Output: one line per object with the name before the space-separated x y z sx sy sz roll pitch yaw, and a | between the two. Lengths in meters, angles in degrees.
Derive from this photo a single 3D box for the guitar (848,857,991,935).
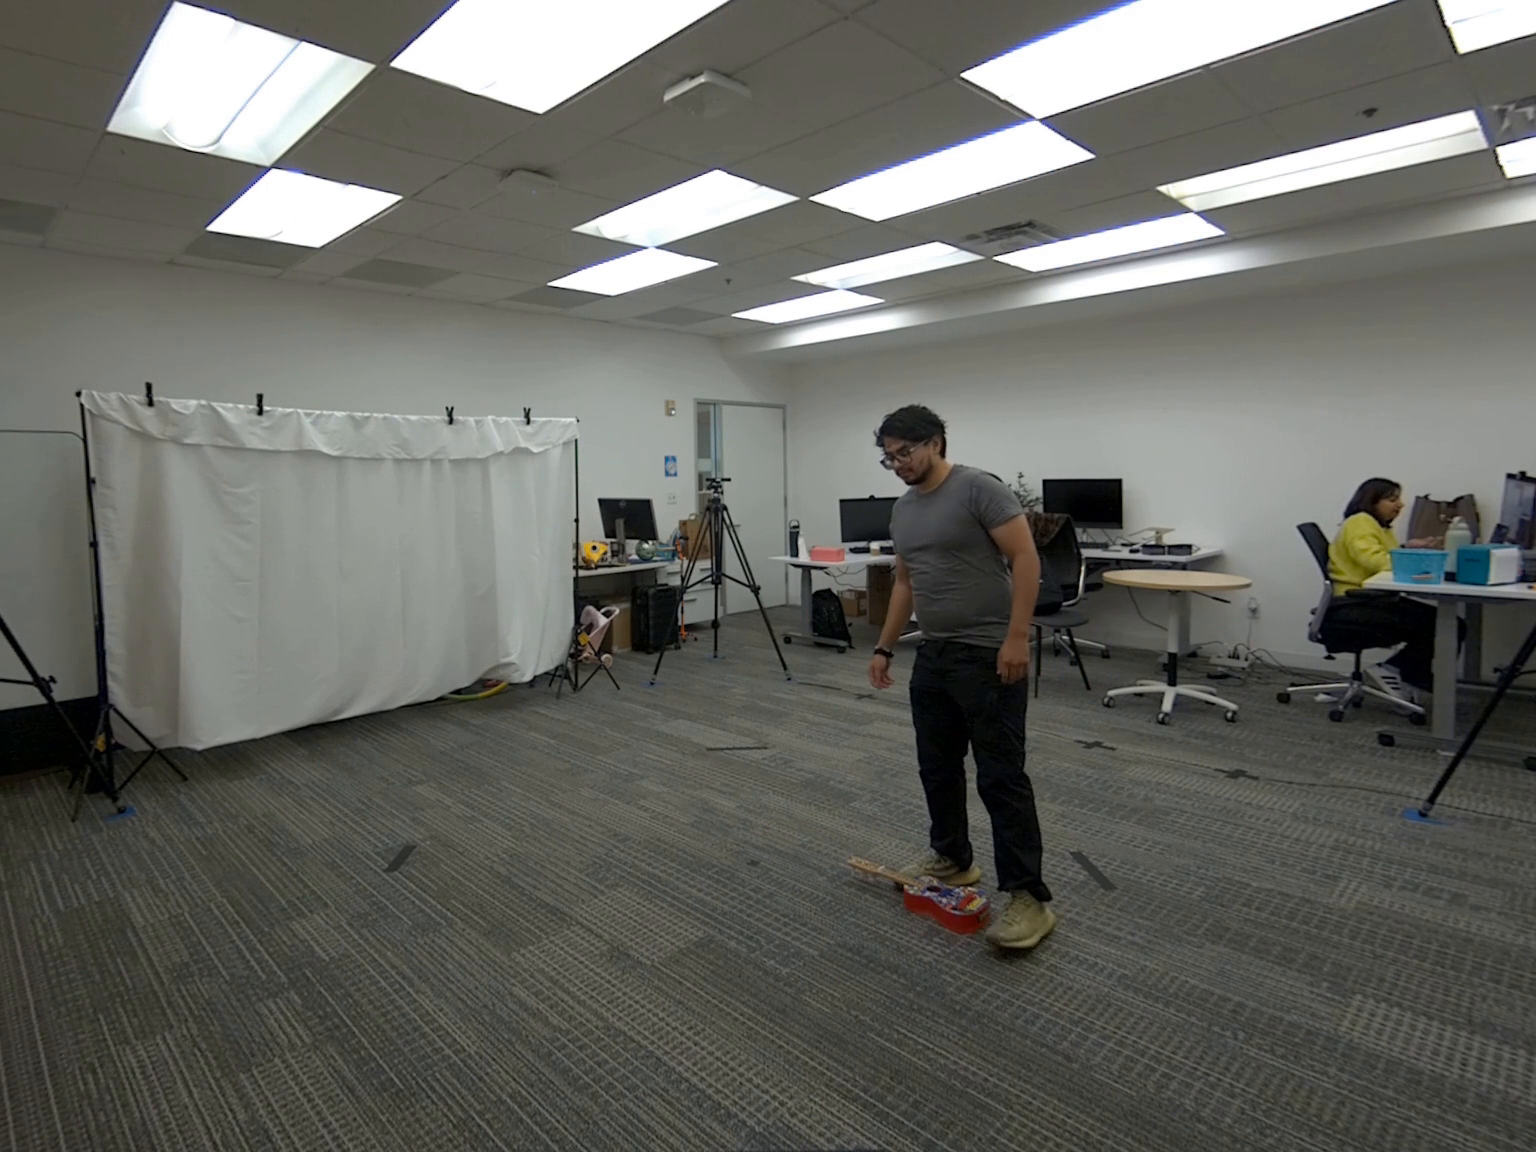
guitar | 0.506 1.035 2.827 0.188 0.070 0.513 -6 8 -40
